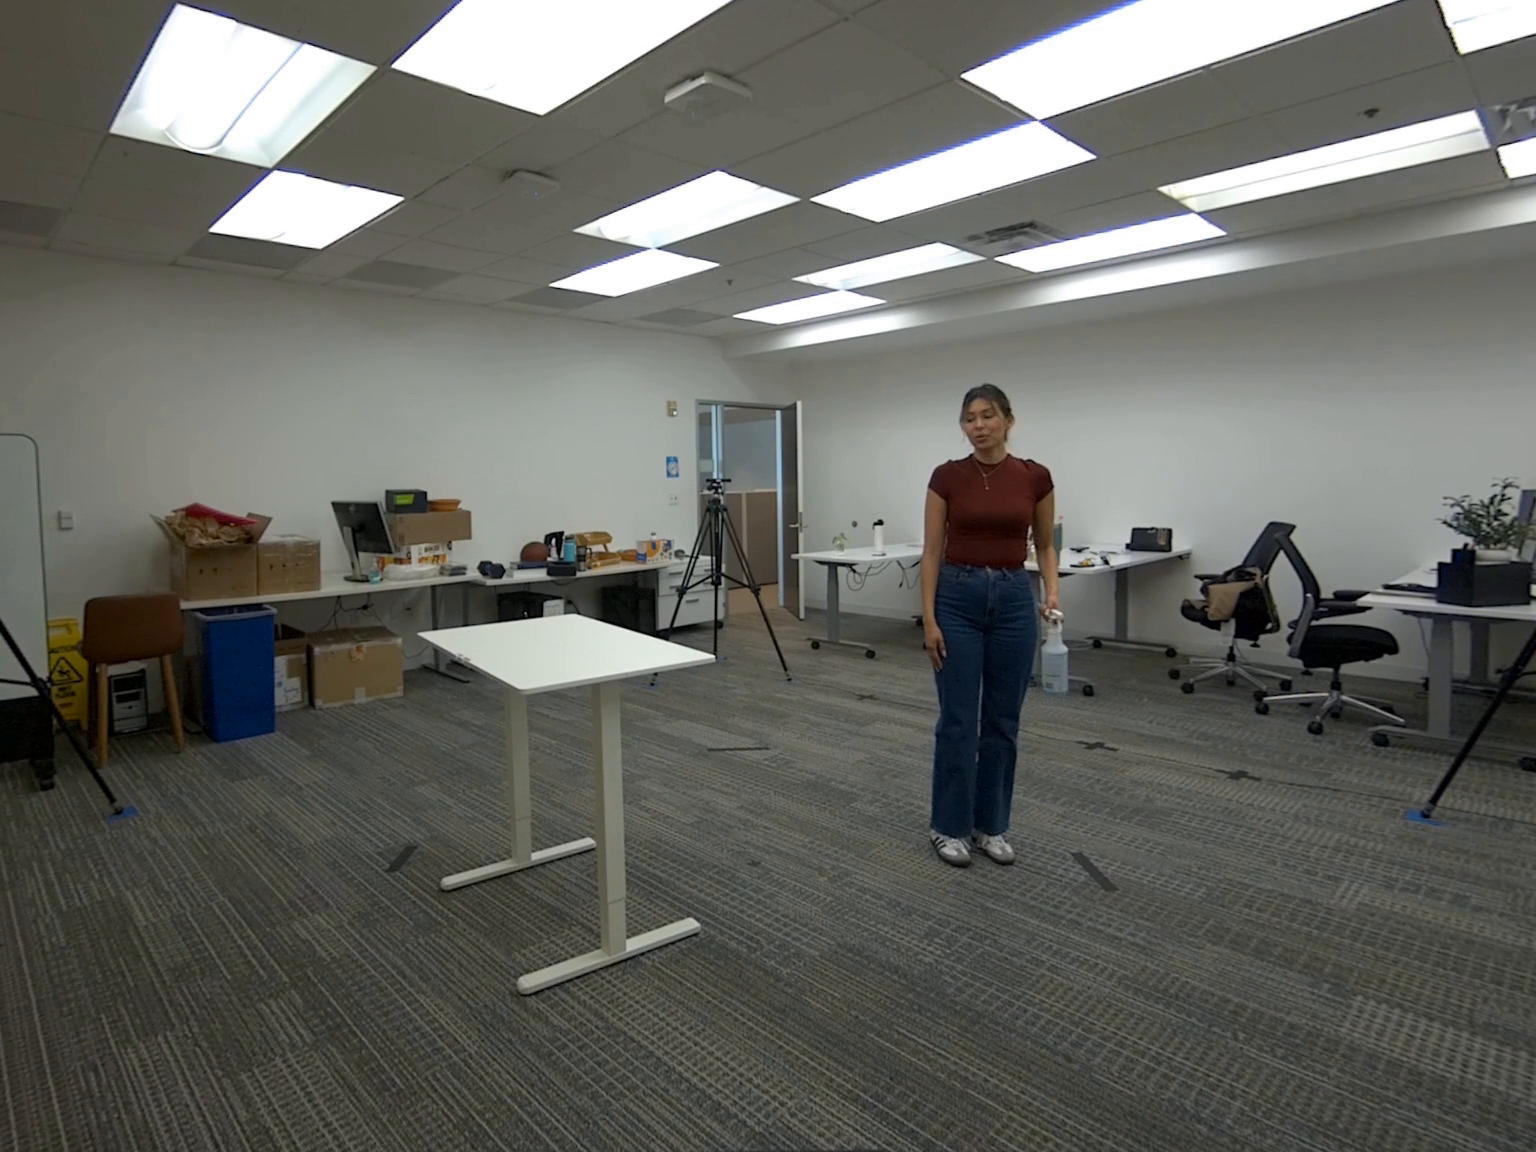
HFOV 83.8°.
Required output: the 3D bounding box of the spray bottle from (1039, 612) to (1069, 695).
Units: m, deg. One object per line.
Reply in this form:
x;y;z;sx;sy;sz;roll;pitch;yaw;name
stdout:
0.991;0.264;2.952;0.088;0.294;0.089;-2;13;18;spray bottle
